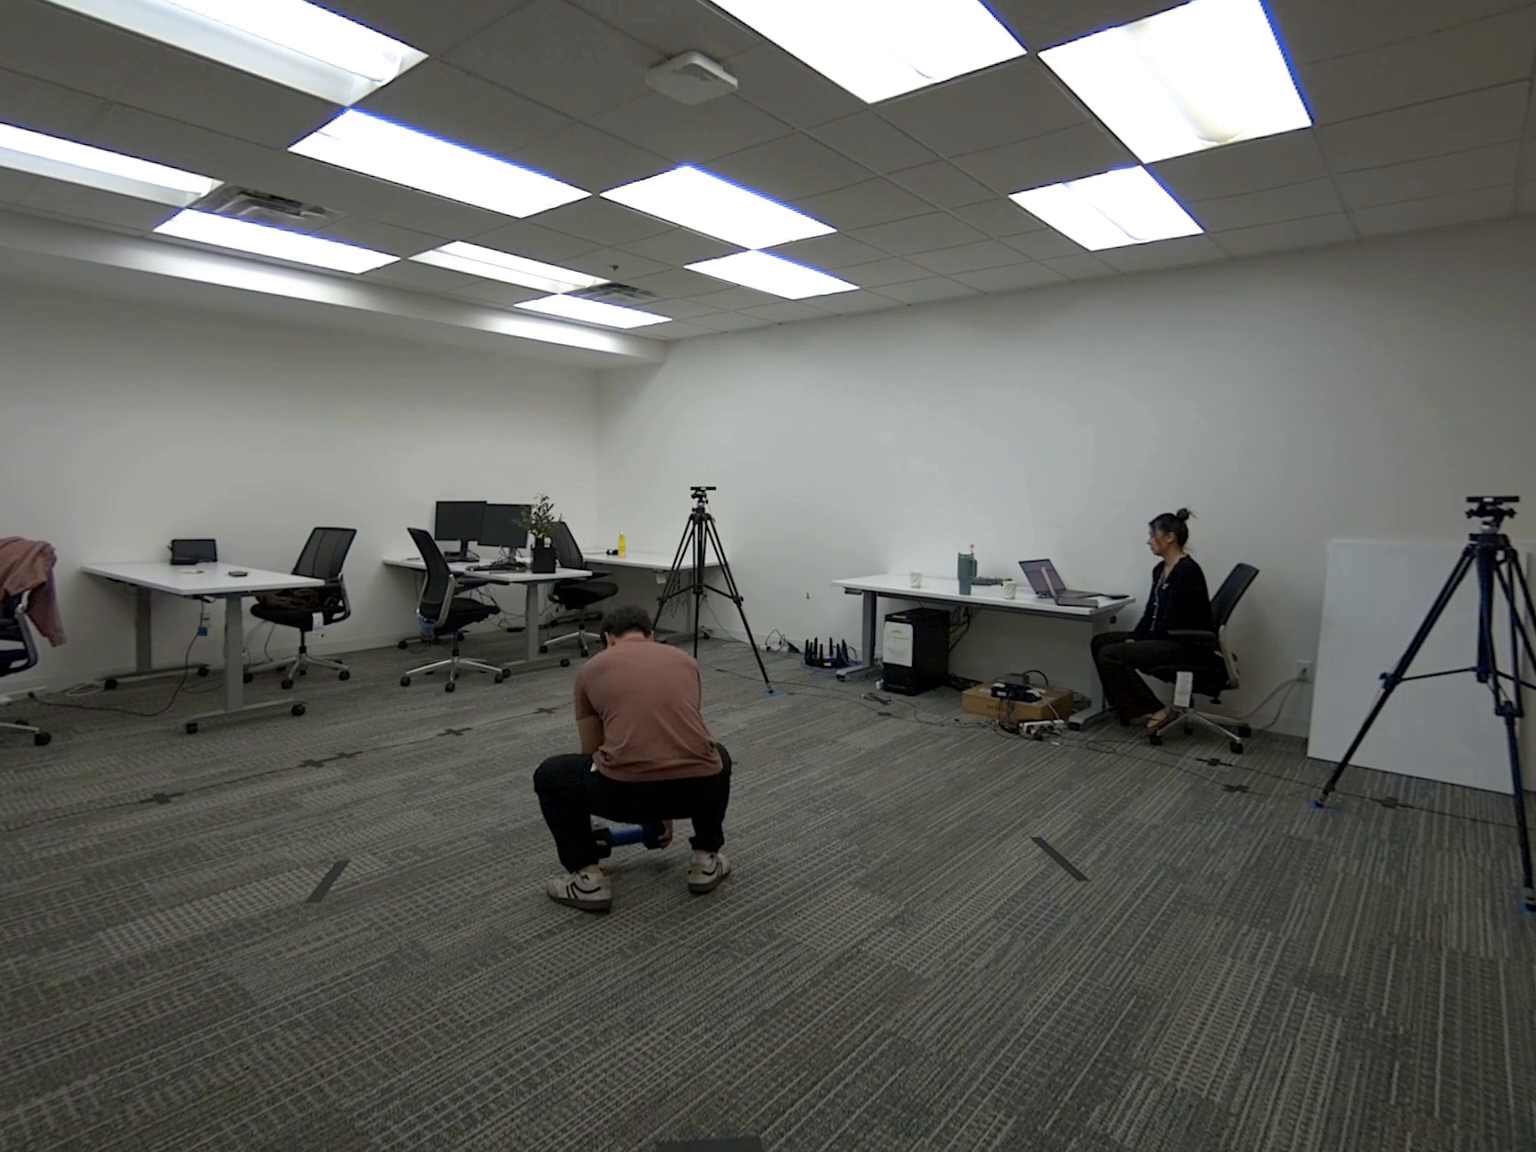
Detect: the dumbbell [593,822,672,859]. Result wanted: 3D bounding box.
[{"bbox_3d":[-0.531,0.944,3.138,0.288,0.109,0.124,-3,-6,-18],"label":"dumbbell"}]
